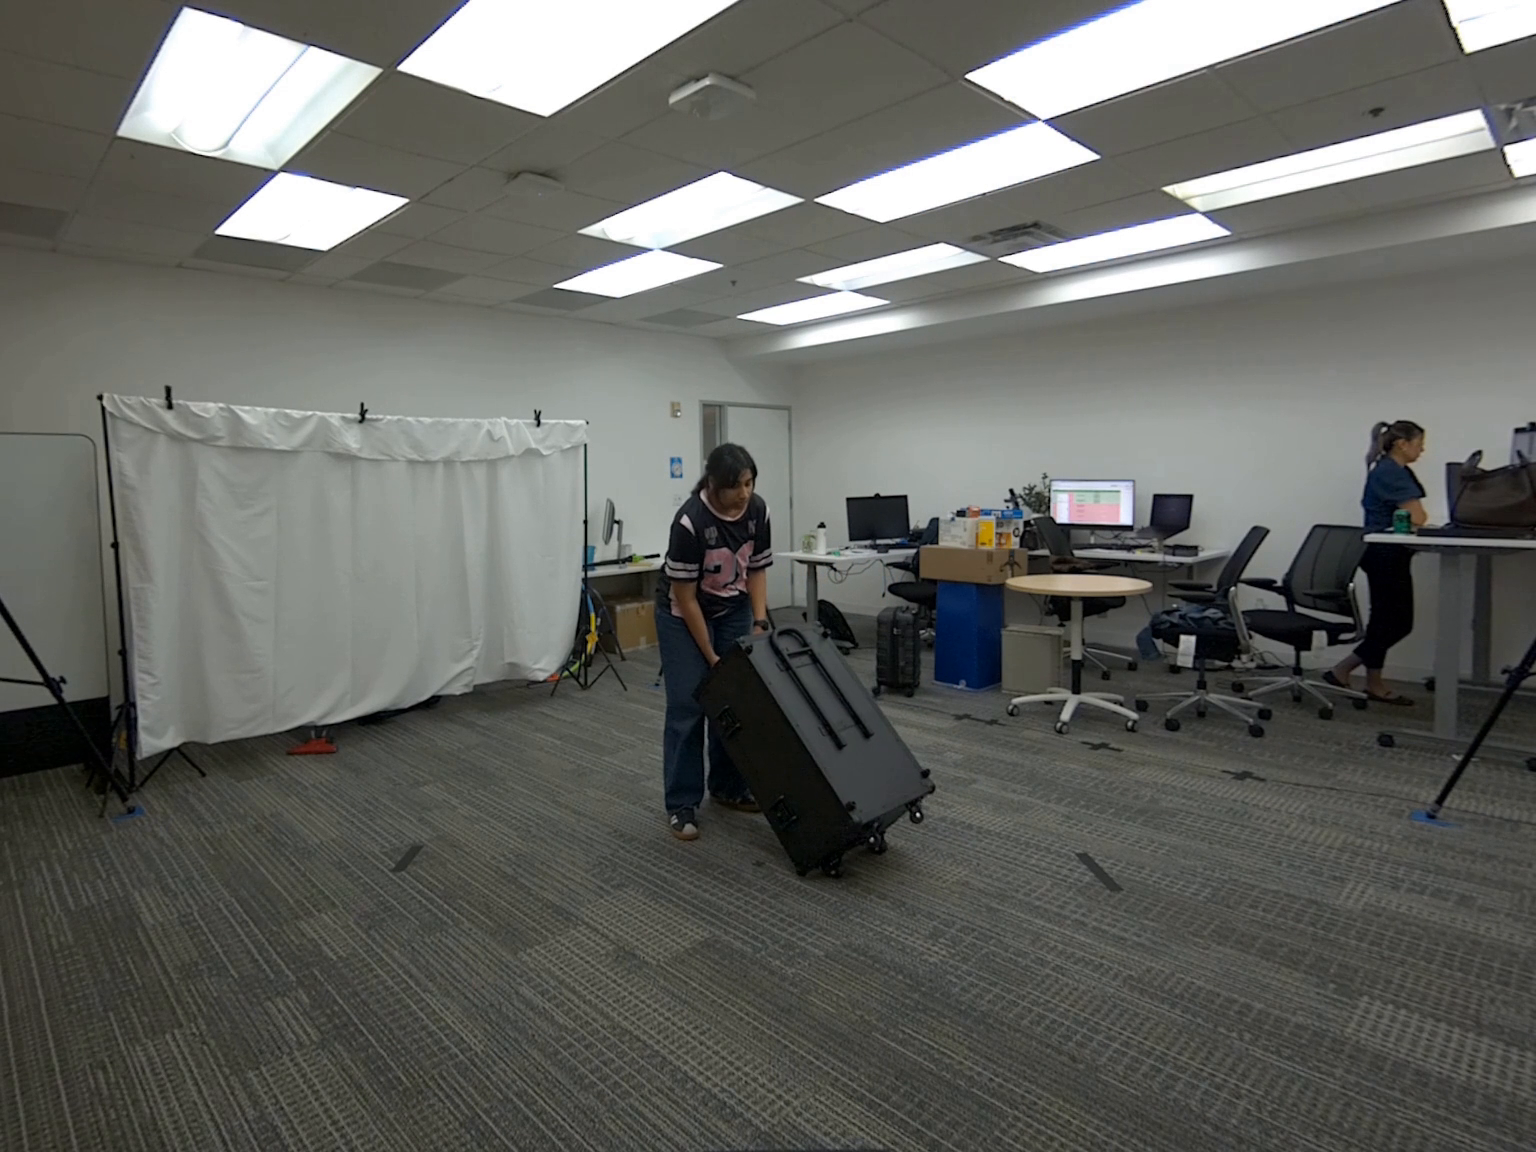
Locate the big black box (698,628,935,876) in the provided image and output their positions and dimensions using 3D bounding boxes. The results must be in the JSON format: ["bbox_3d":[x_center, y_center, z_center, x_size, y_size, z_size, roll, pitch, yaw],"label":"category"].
[{"bbox_3d":[0.190,0.639,3.203,0.509,0.896,0.384,-4,-39,-46],"label":"big black box"}]
